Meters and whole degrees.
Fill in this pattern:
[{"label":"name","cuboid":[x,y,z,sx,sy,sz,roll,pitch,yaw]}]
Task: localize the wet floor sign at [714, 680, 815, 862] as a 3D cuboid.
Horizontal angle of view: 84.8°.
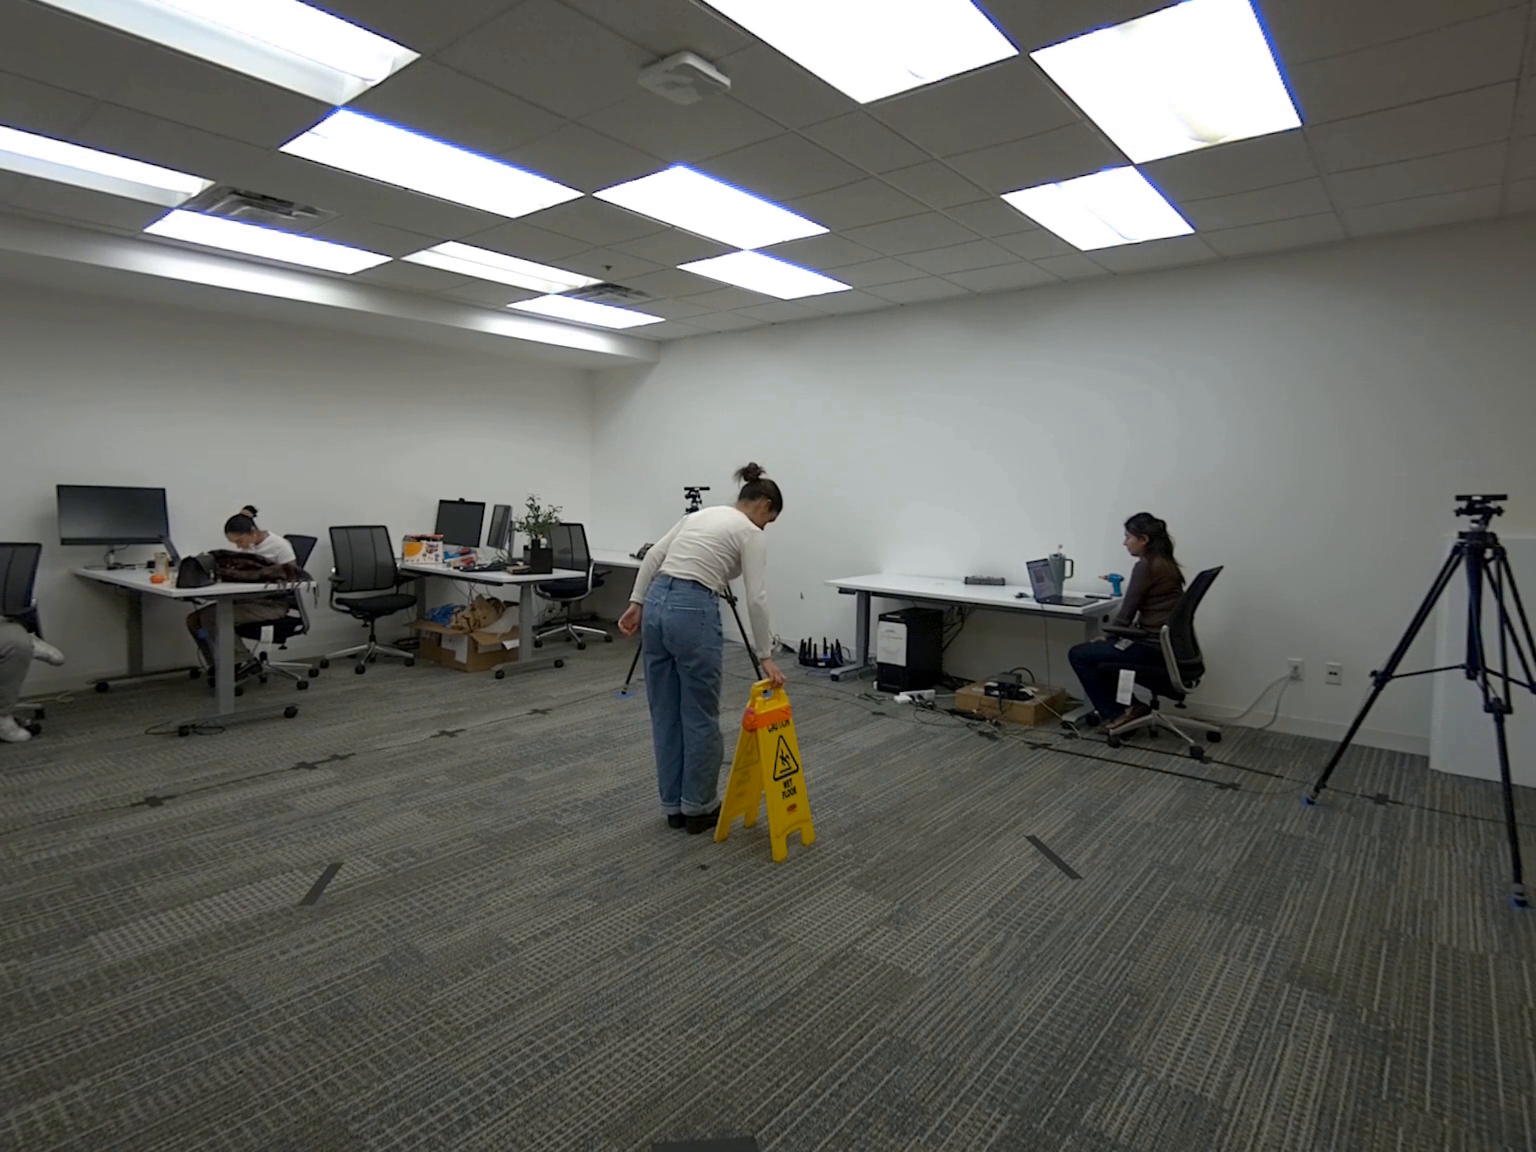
[{"label":"wet floor sign","cuboid":[-0.009,0.723,3.343,0.299,0.644,0.274,4,4,36]}]
